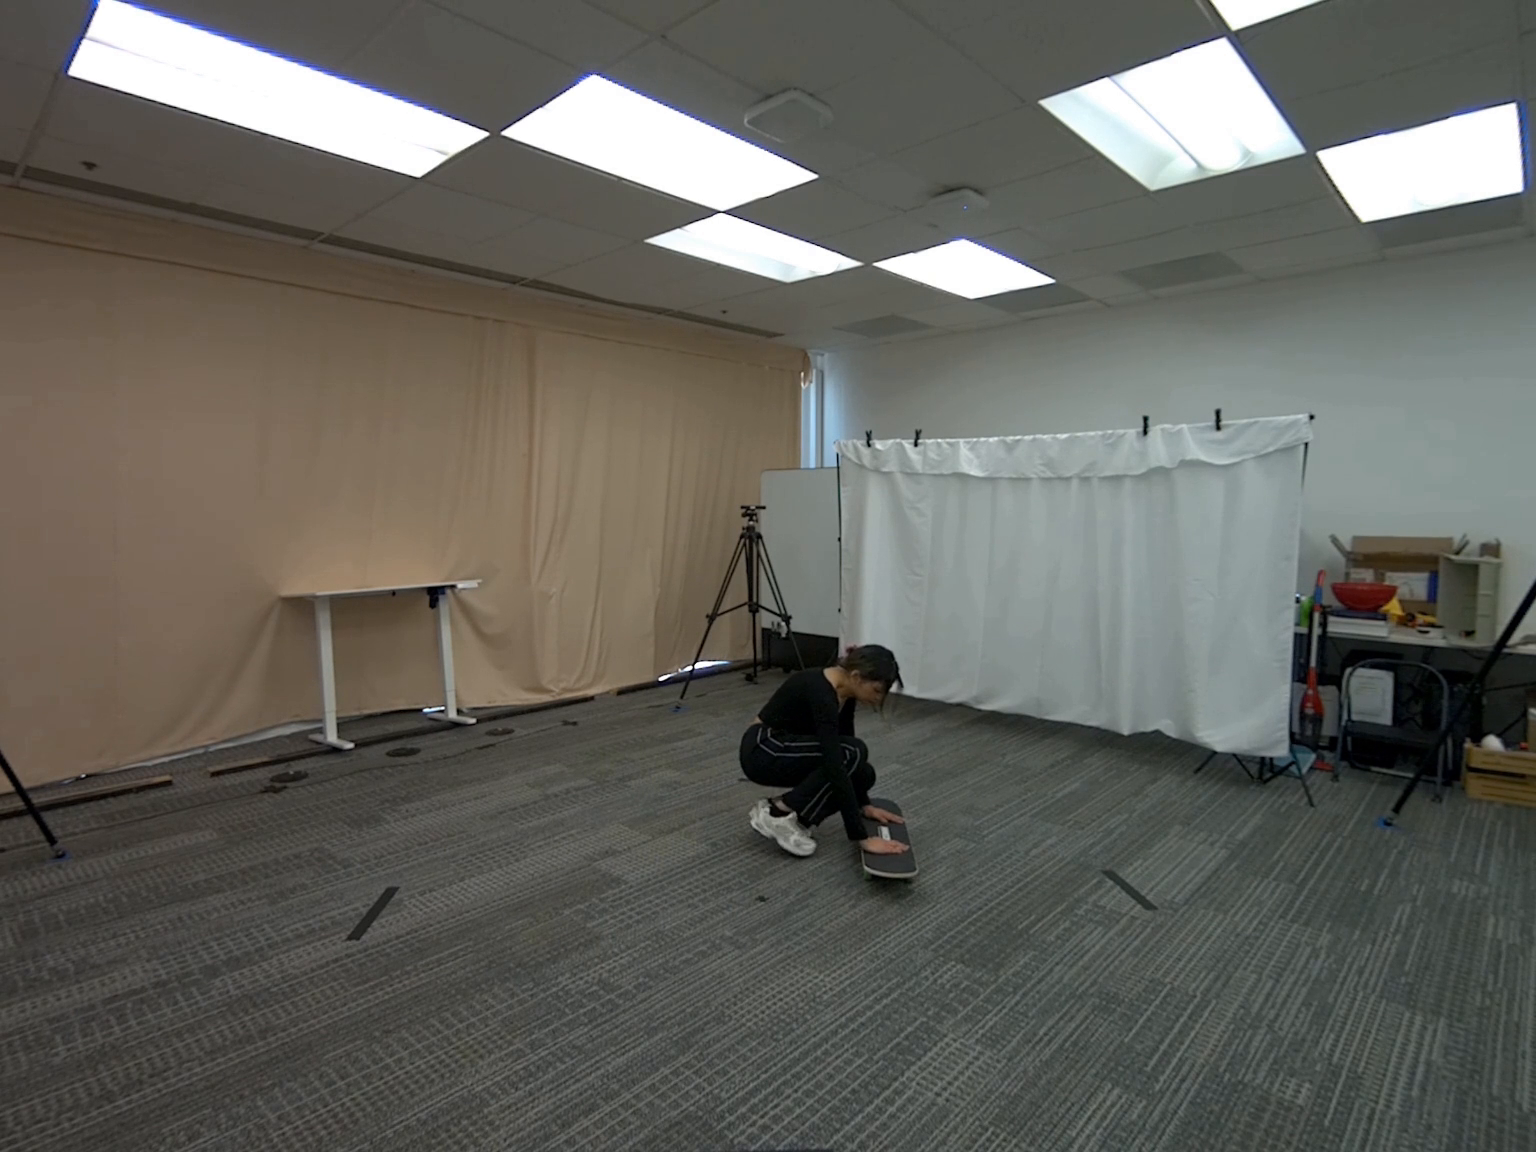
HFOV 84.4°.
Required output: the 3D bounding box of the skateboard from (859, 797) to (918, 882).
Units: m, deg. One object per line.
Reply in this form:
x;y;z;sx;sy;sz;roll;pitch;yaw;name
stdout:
0.457;1.053;3.311;0.194;0.110;0.782;-1;4;4;skateboard
